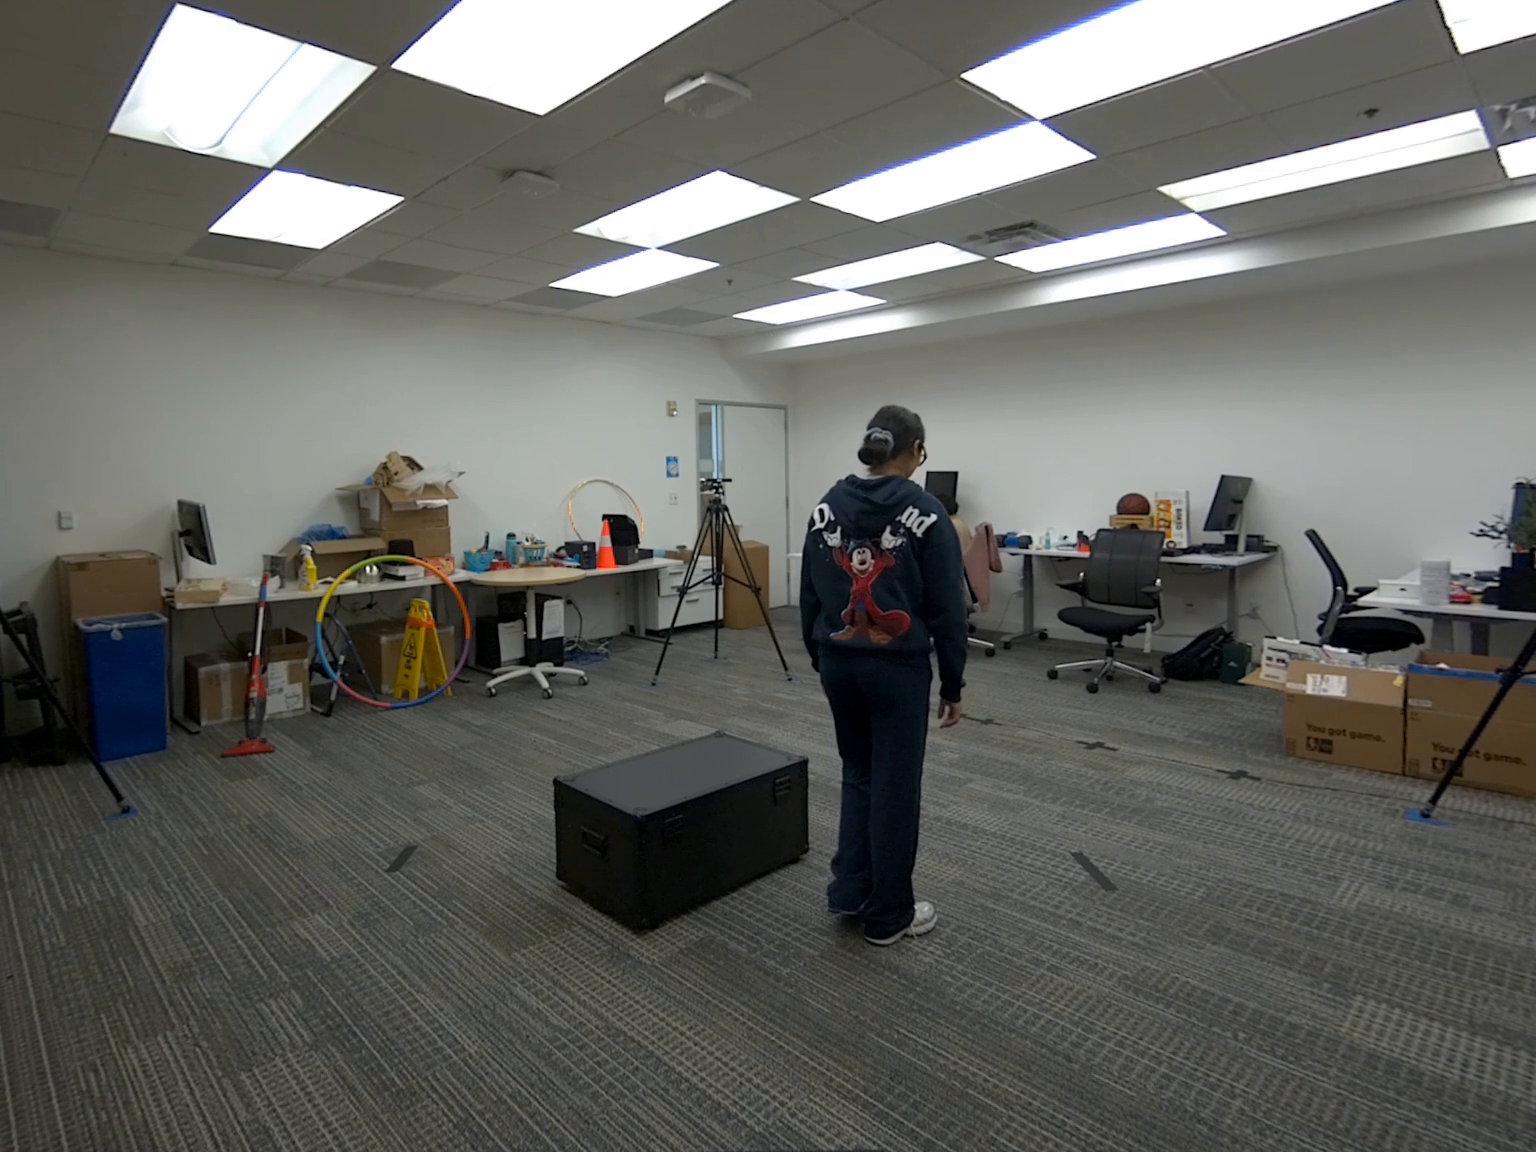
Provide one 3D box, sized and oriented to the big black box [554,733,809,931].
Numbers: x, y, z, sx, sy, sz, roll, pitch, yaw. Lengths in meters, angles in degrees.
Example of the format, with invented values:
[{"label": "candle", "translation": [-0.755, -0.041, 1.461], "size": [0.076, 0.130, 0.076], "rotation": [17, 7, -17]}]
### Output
[{"label": "big black box", "translation": [-0.270, 0.862, 3.058], "size": [0.839, 0.394, 0.537], "rotation": [-8, 9, -44]}]
